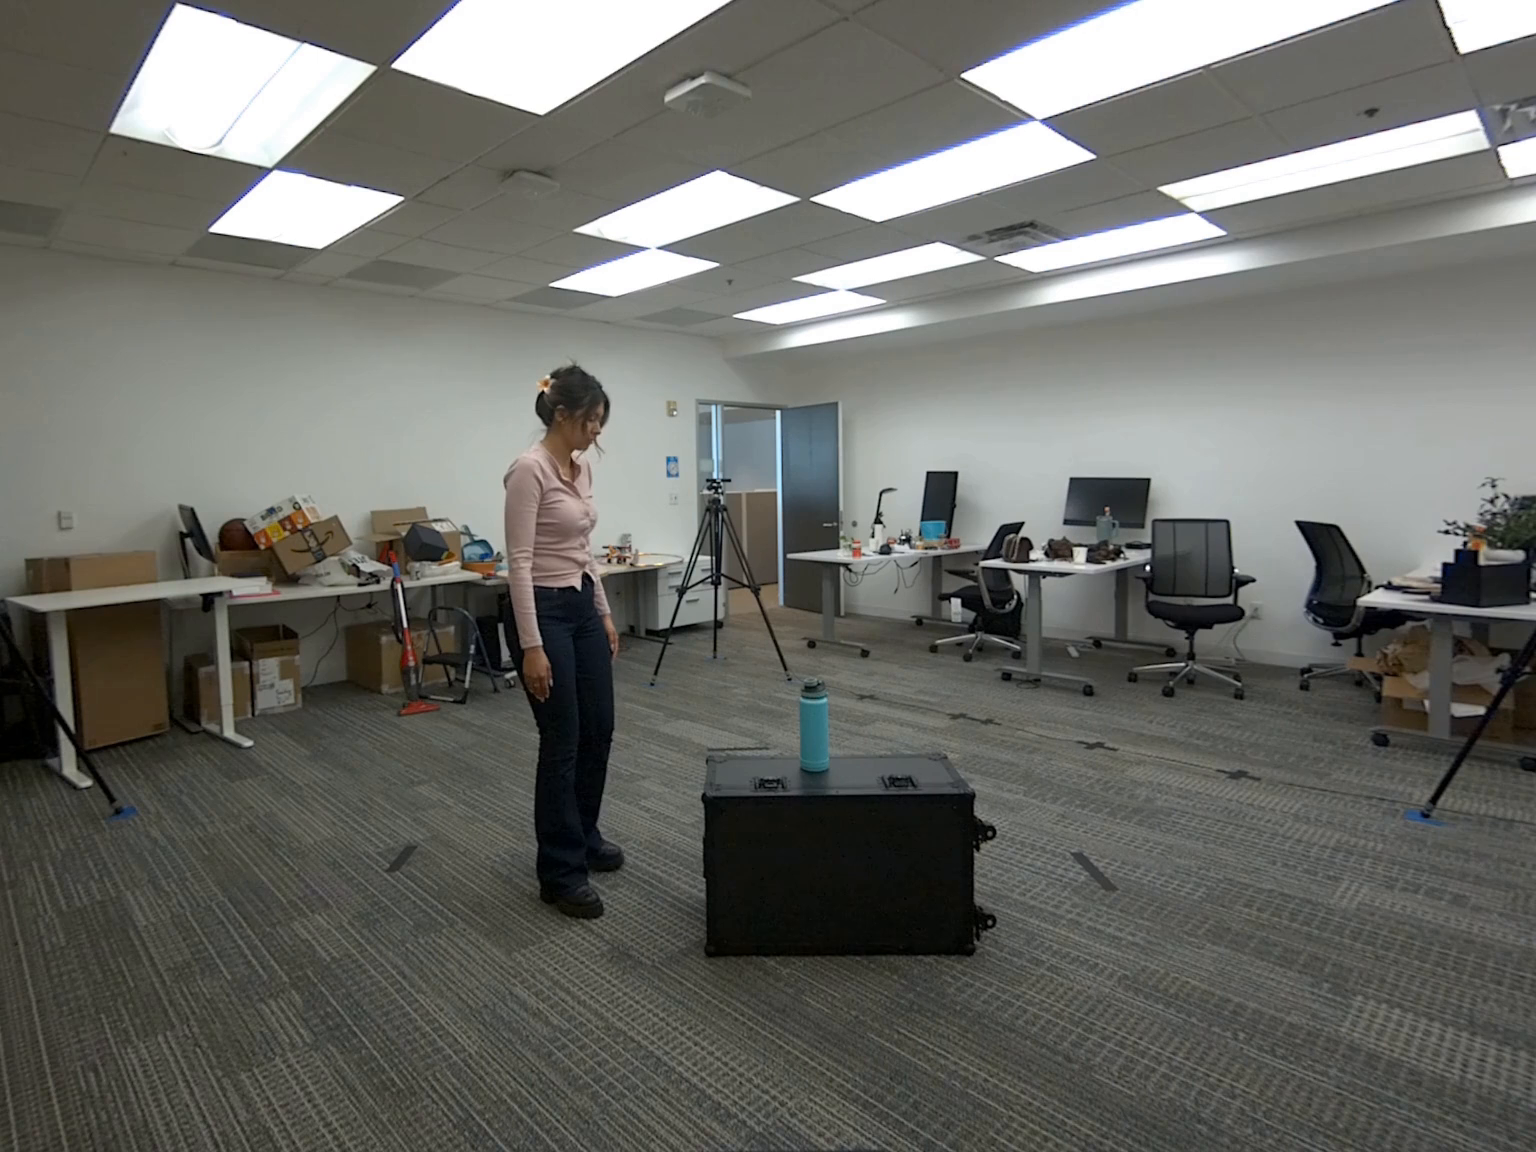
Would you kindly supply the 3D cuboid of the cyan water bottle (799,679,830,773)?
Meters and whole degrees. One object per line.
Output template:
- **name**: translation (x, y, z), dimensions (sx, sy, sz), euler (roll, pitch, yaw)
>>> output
- **cyan water bottle**: translation (0.144, 0.464, 2.690), dimensions (0.092, 0.282, 0.093), euler (-1, 4, -2)
